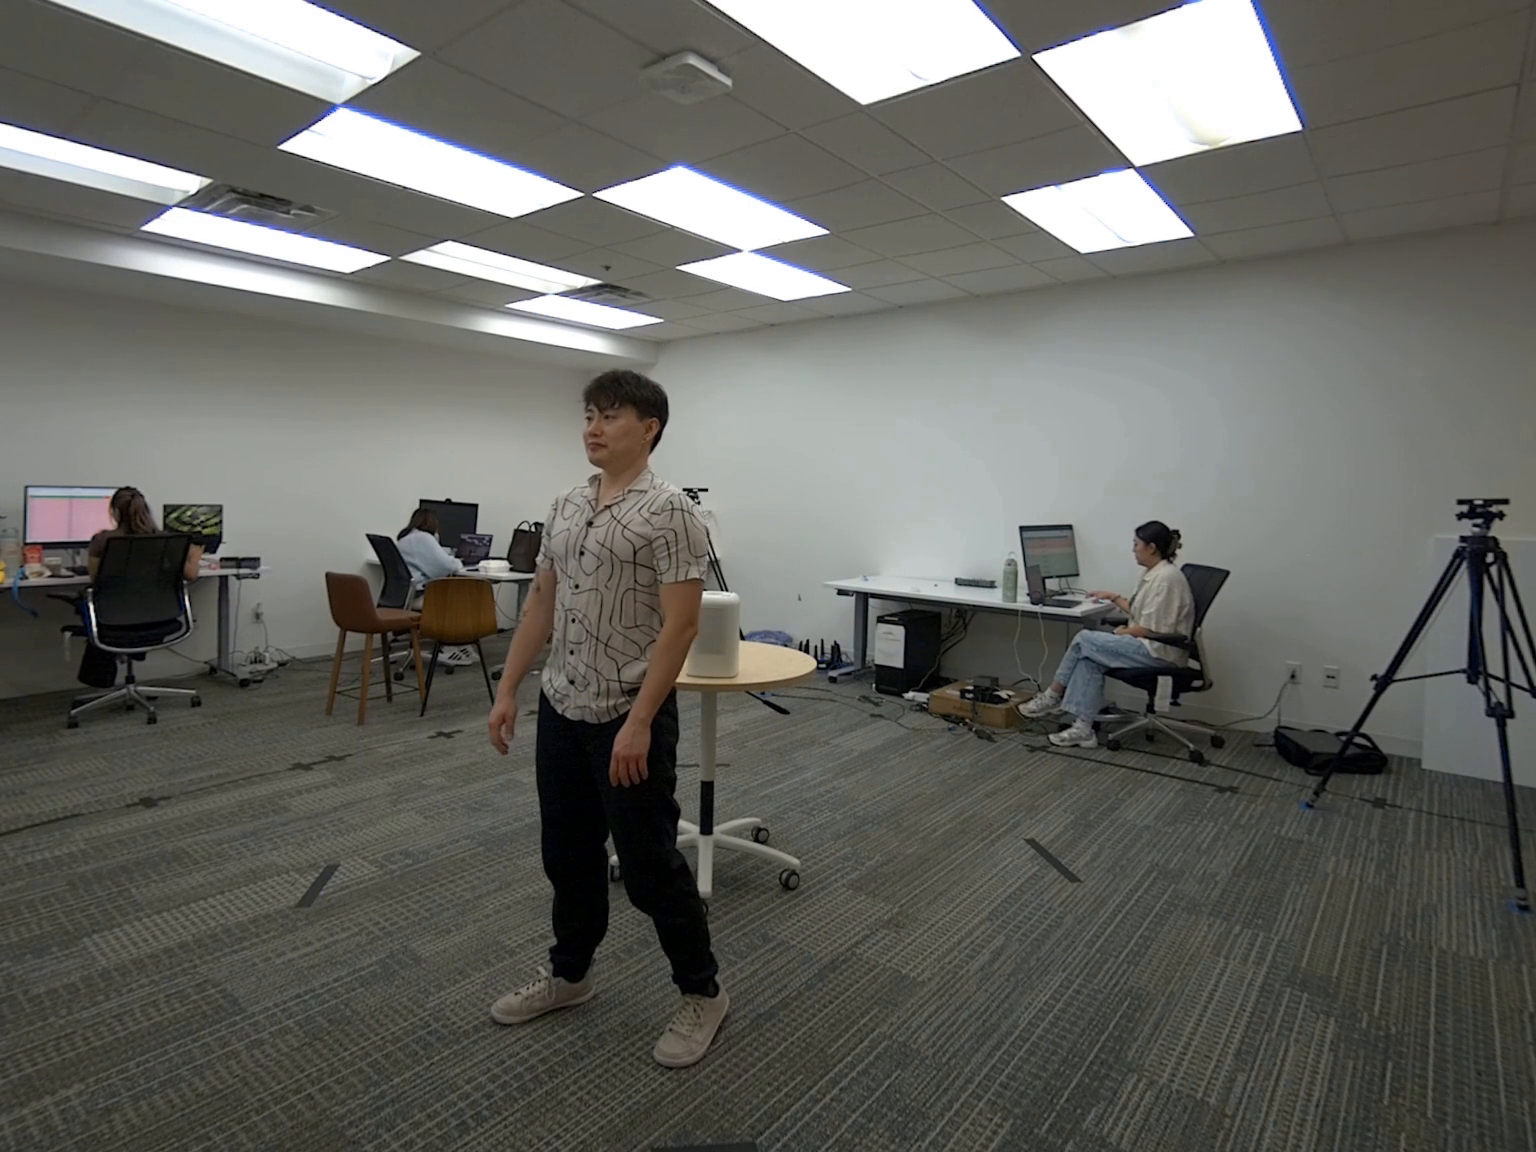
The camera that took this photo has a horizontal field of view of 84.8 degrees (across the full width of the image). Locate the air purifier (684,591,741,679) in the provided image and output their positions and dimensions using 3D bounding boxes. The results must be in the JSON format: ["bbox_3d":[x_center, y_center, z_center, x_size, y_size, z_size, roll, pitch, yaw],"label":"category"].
[{"bbox_3d":[-0.191,0.186,2.825,0.173,0.264,0.170,3,5,6],"label":"air purifier"}]
